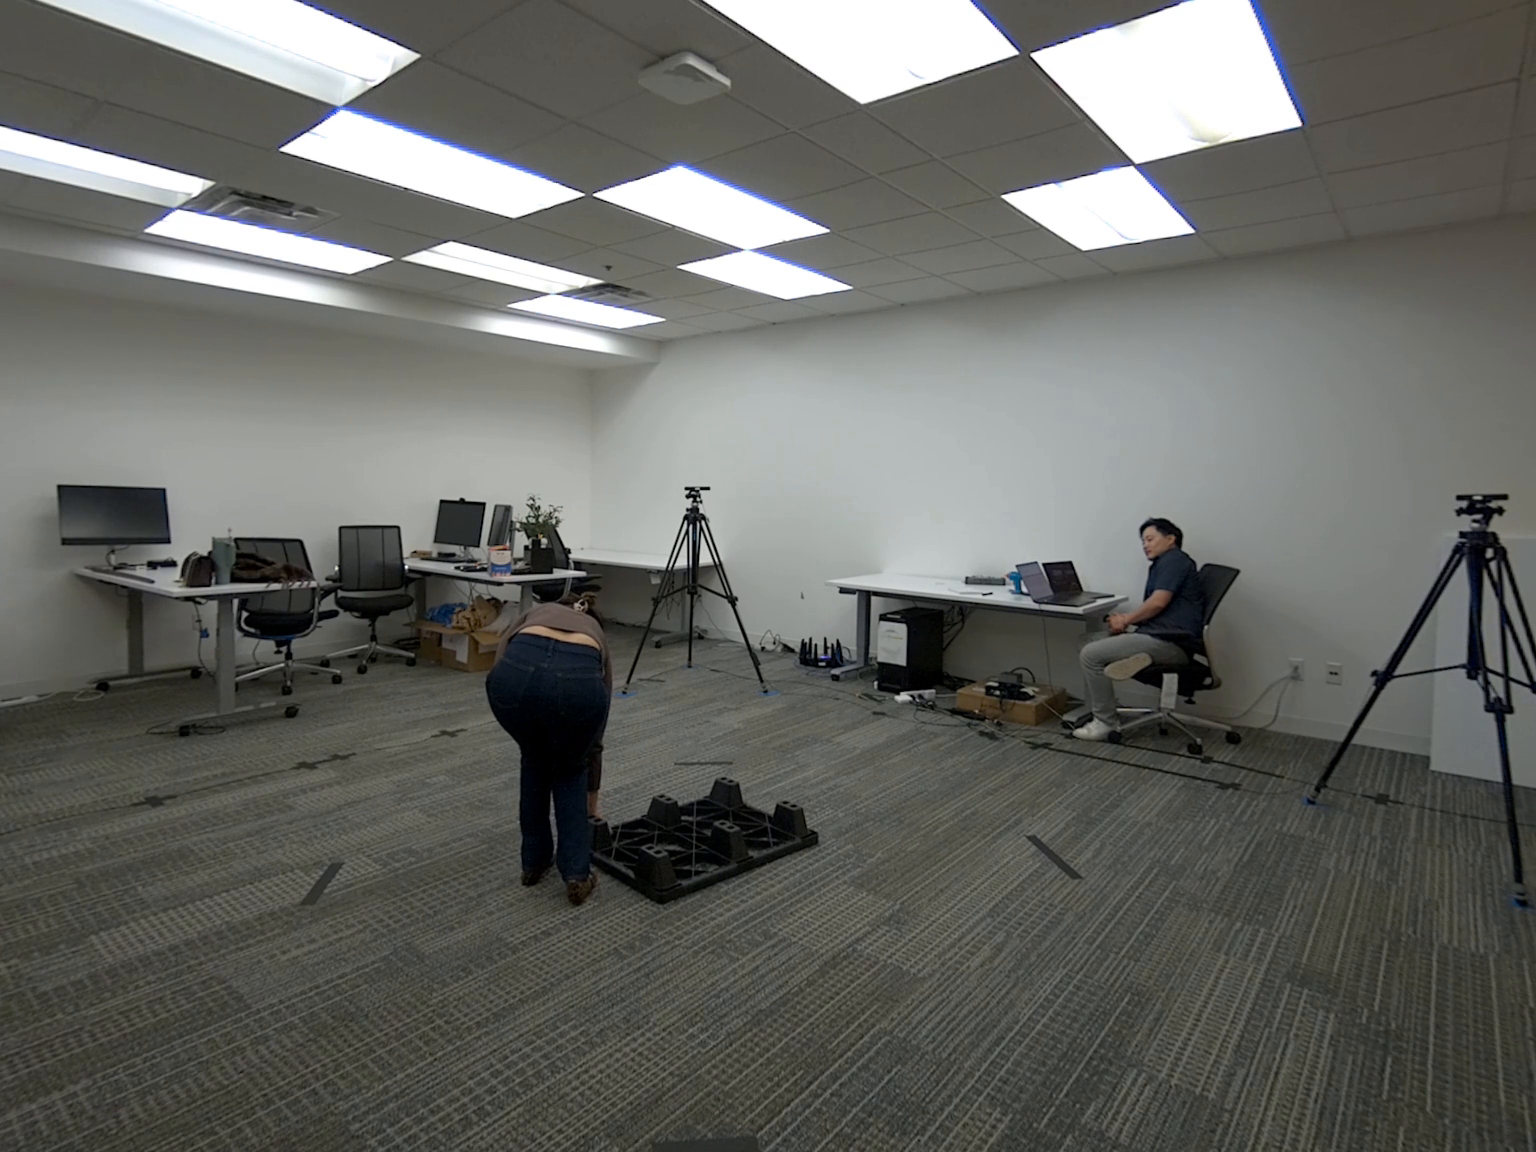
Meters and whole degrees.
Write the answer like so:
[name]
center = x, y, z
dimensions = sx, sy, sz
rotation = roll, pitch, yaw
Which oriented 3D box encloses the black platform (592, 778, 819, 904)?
[black platform]
center = -0.293, 0.977, 3.295
dimensions = 0.782, 0.143, 0.626
rotation = -5, 7, -44
